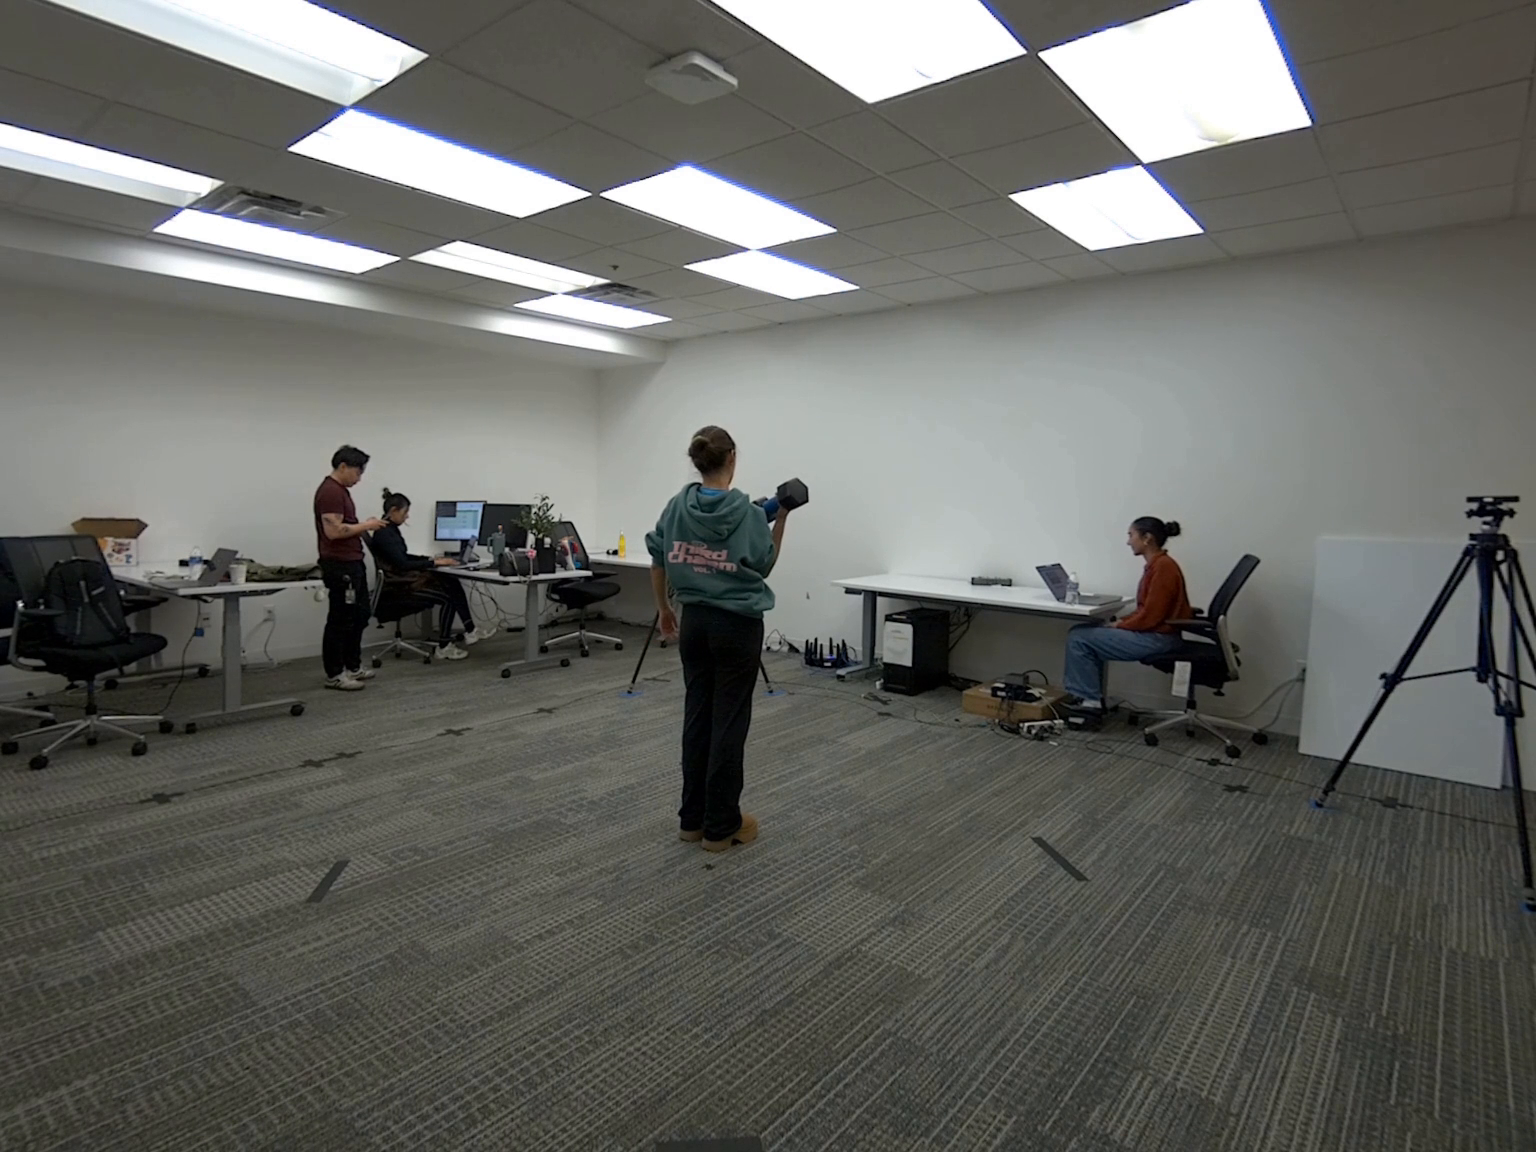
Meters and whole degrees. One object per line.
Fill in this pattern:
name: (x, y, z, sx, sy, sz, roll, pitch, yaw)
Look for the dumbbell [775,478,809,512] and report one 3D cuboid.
dumbbell: (0.025, -0.289, 3.353, 0.120, 0.110, 0.297, 40, -36, -18)
